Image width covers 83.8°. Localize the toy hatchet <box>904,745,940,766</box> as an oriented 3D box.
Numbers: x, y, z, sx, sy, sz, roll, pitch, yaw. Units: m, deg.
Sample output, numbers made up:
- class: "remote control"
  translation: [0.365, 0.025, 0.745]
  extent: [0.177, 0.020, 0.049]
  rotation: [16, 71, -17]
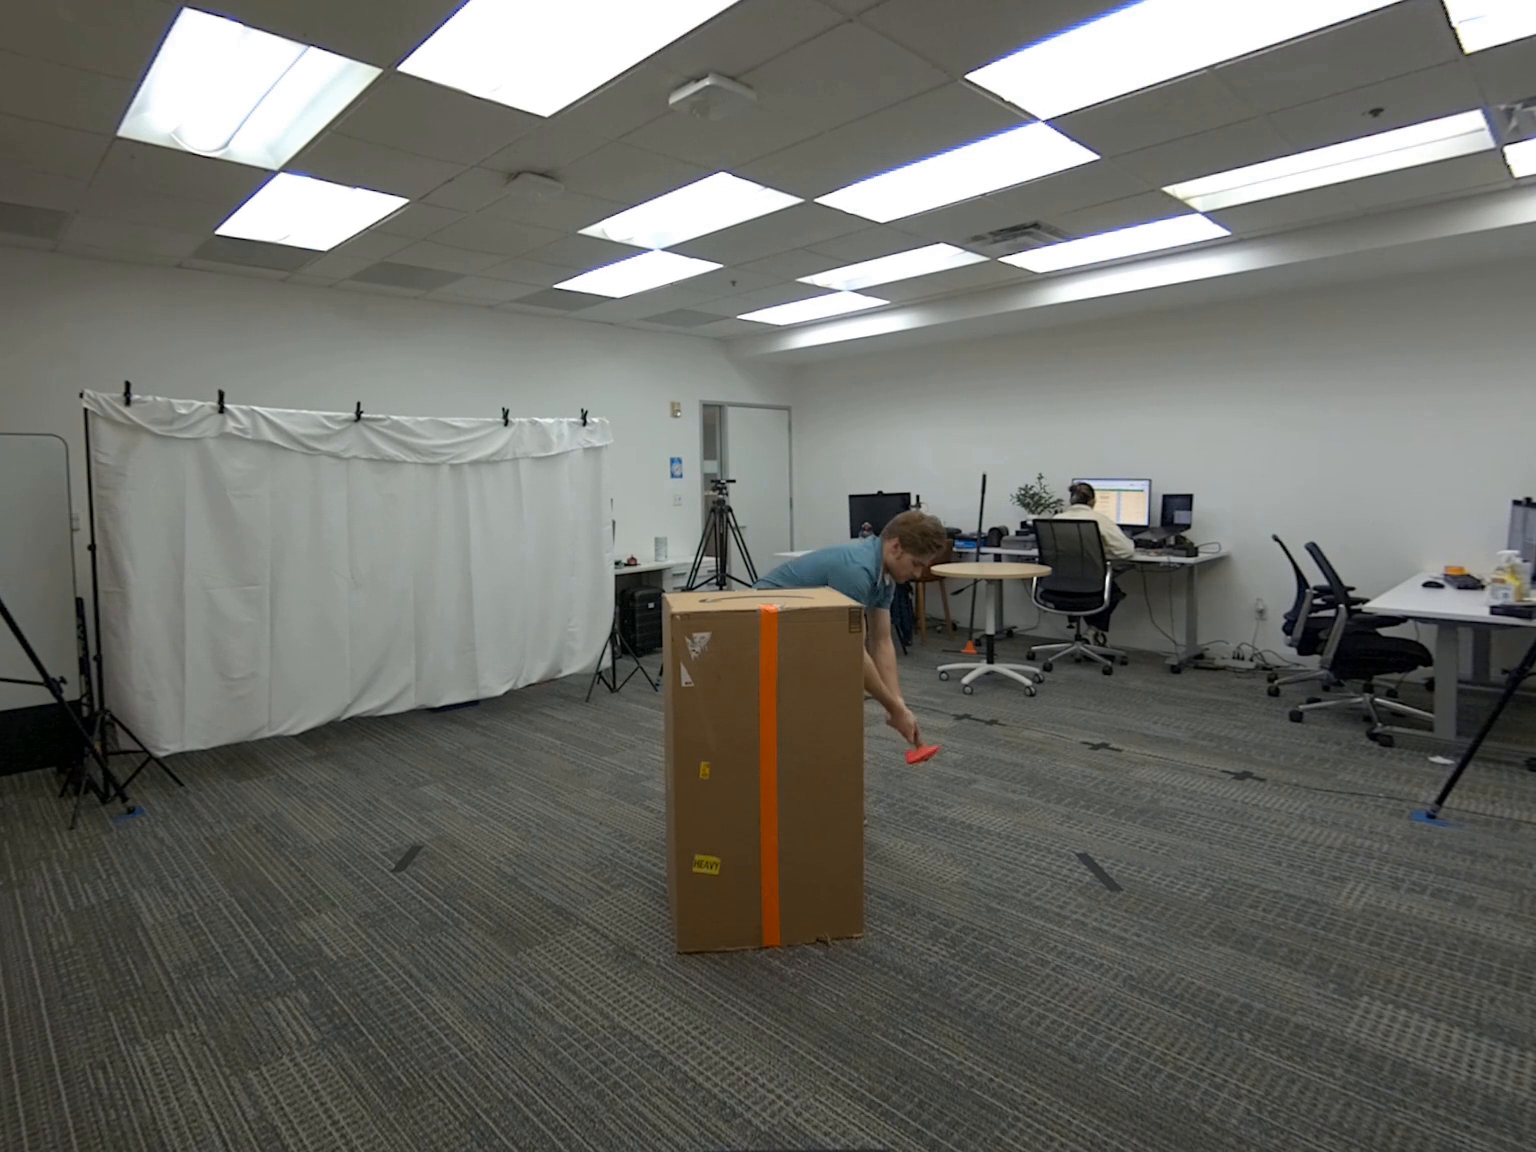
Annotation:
- class: "toy hatchet"
  translation: [0.518, 0.619, 3.170]
  extent: [0.131, 0.029, 0.279]
  rotation: [-41, 27, -13]
